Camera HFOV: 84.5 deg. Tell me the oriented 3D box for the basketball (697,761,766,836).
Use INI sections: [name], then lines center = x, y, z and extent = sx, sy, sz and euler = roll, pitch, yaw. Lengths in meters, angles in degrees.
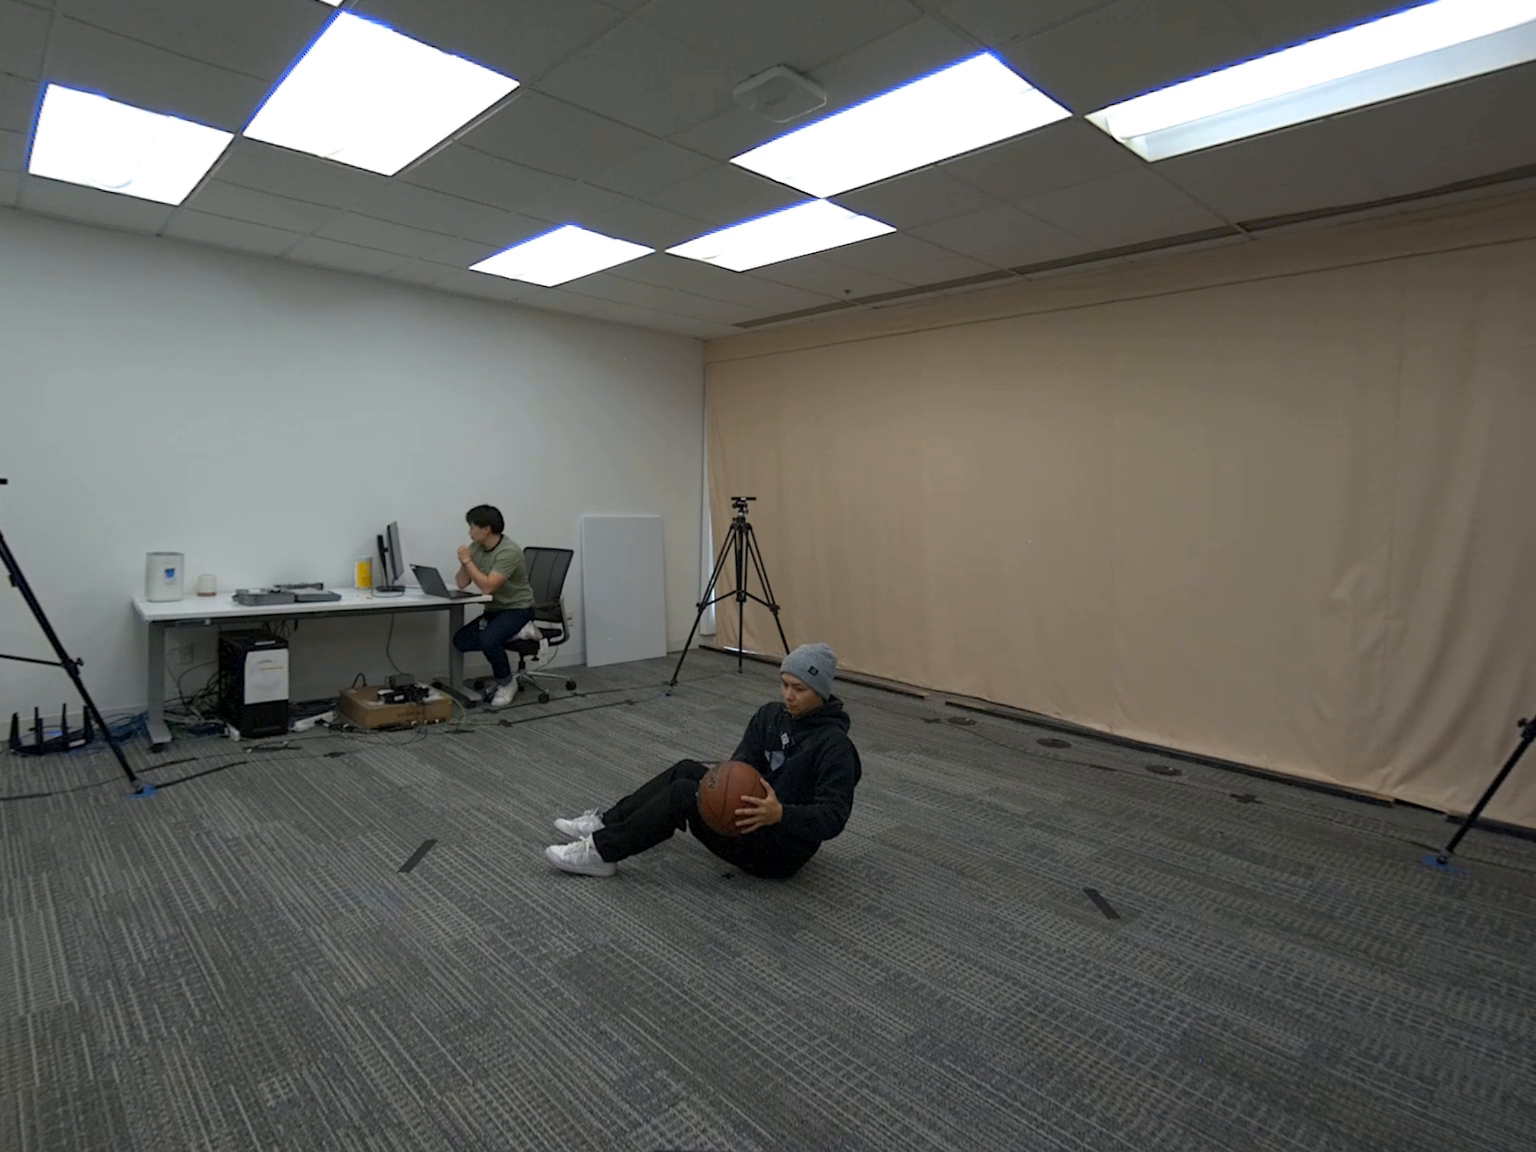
[basketball]
center = -0.122, 0.735, 2.794
extent = 0.236, 0.235, 0.237
euler = 1, 4, -1
